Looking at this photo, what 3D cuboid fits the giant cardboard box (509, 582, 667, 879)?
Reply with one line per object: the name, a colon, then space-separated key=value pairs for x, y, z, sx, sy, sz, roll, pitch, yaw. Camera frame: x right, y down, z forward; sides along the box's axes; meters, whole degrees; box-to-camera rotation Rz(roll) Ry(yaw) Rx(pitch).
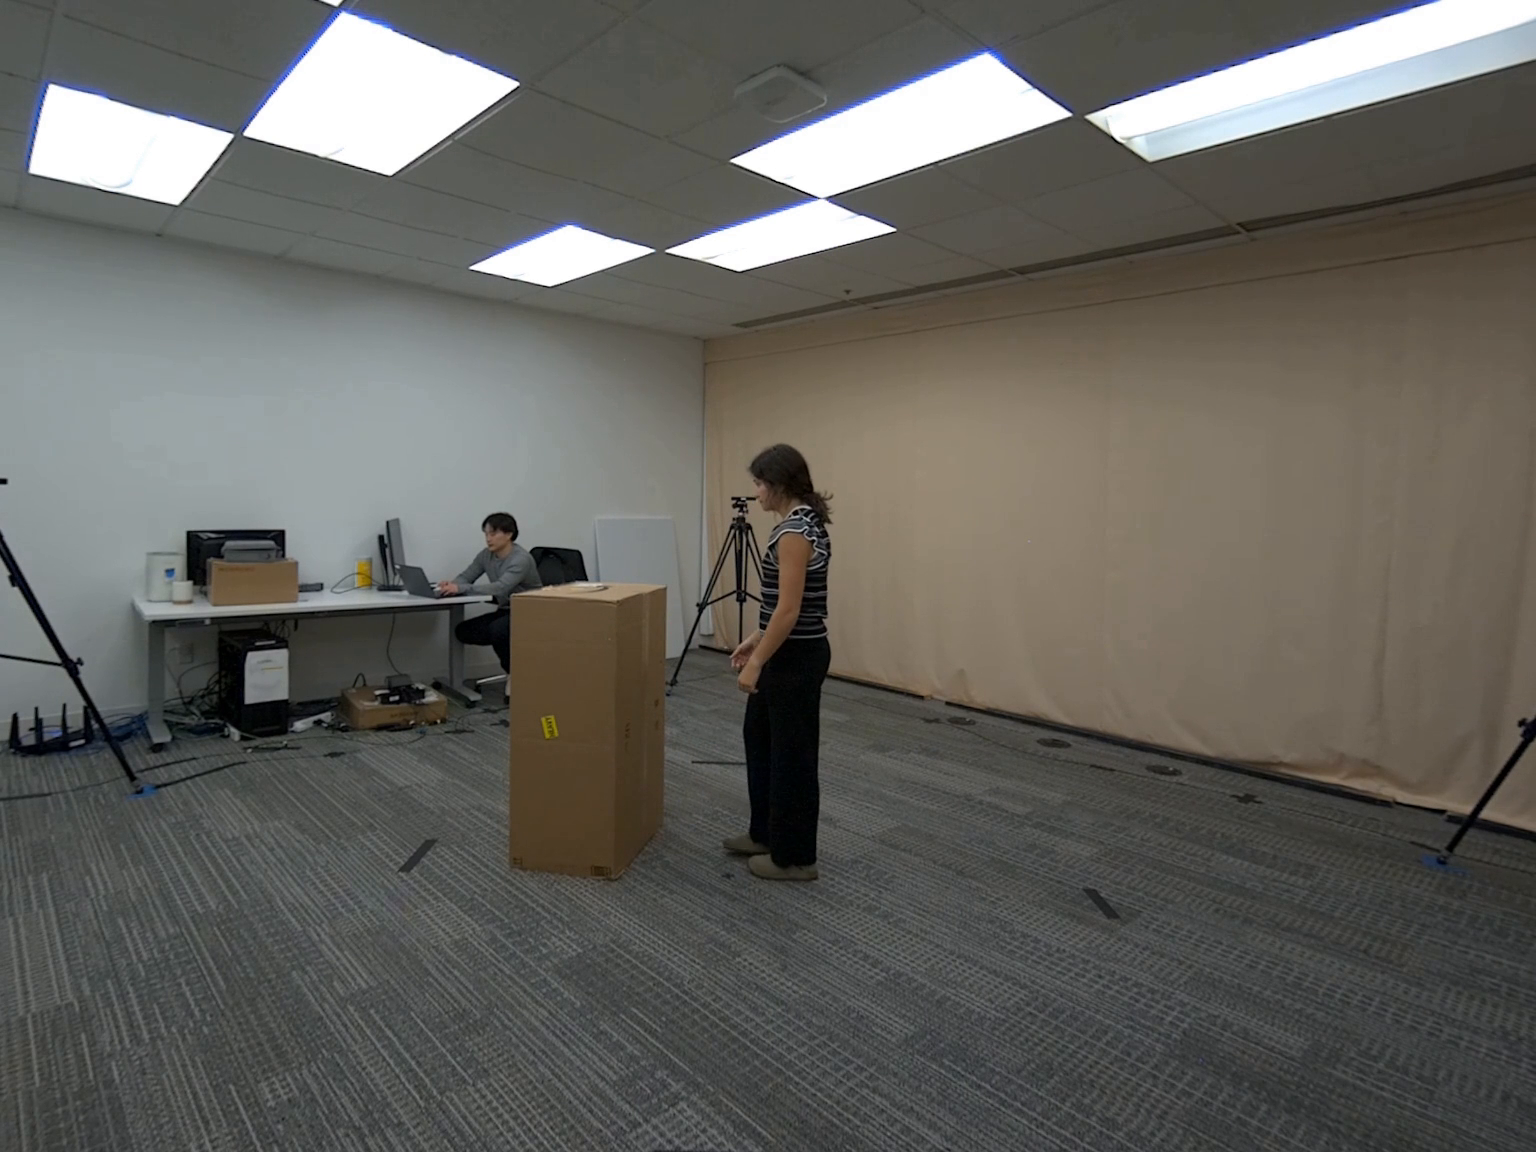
giant cardboard box: x=-0.703 y=0.565 z=3.338 sx=0.430 sy=1.023 sz=0.573 roll=2 pitch=3 yaw=11
